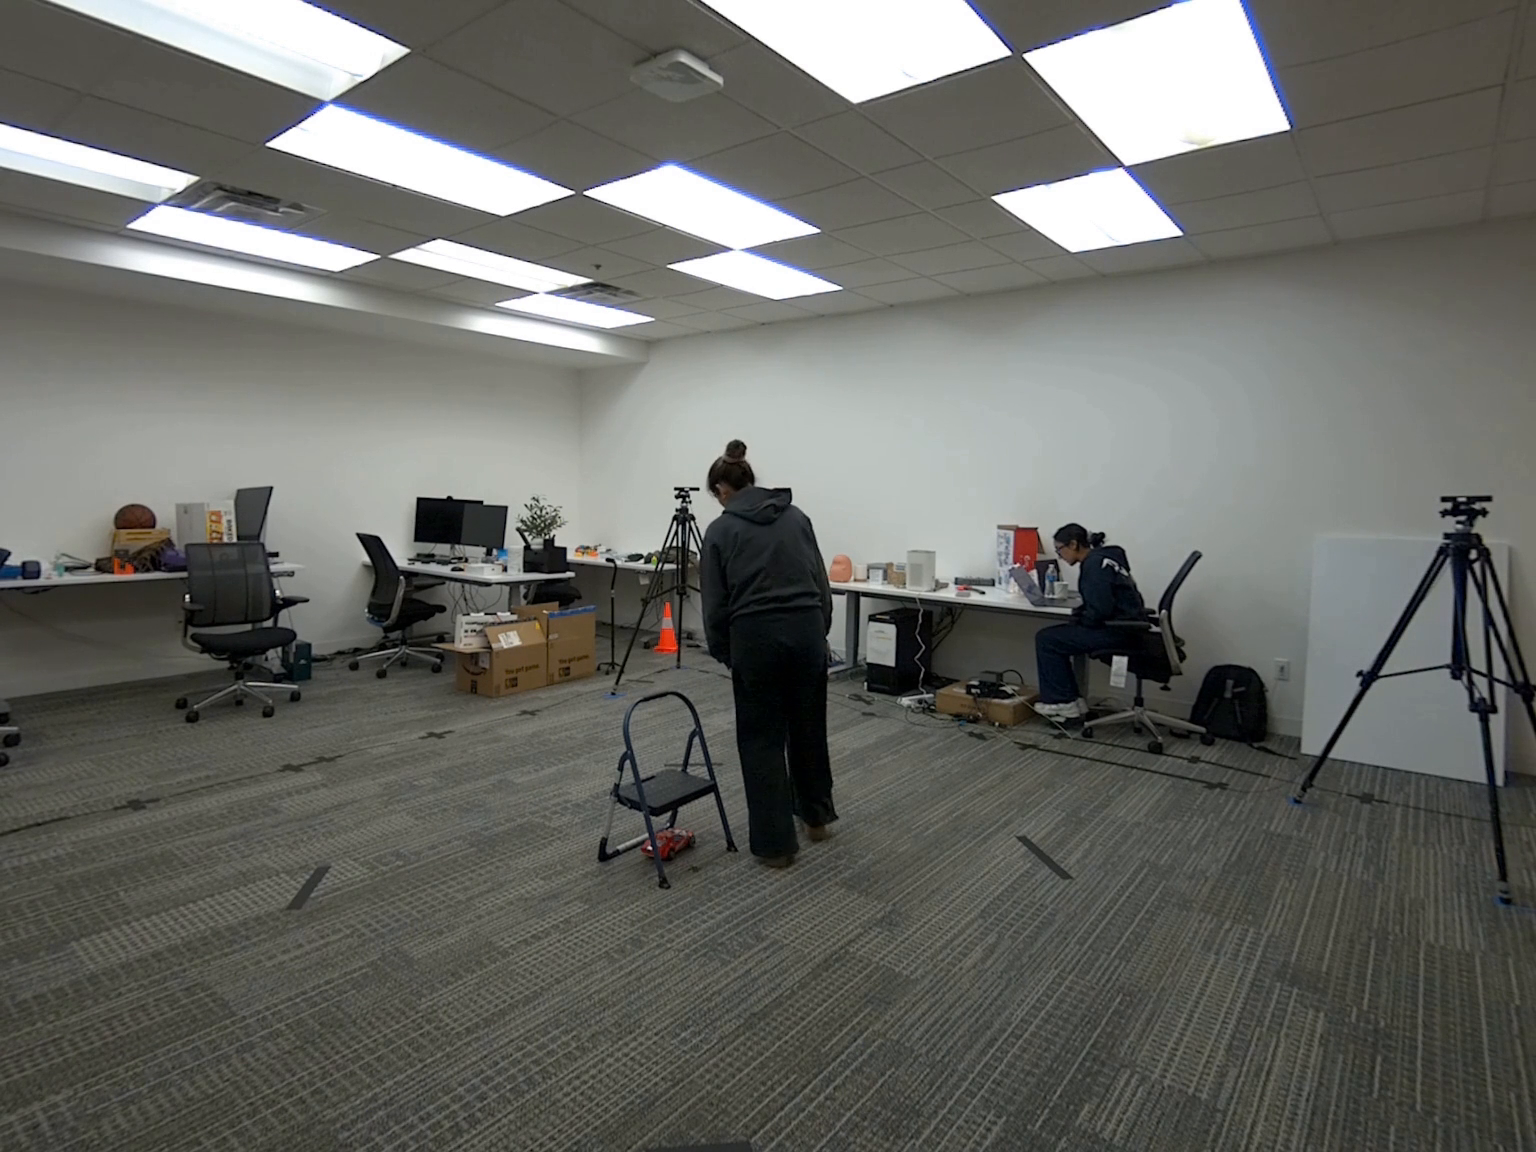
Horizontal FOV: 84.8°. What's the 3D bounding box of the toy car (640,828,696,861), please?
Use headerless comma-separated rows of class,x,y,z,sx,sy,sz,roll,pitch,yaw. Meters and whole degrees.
toy car,-0.390,1.020,3.248,0.134,0.083,0.246,4,-4,31
